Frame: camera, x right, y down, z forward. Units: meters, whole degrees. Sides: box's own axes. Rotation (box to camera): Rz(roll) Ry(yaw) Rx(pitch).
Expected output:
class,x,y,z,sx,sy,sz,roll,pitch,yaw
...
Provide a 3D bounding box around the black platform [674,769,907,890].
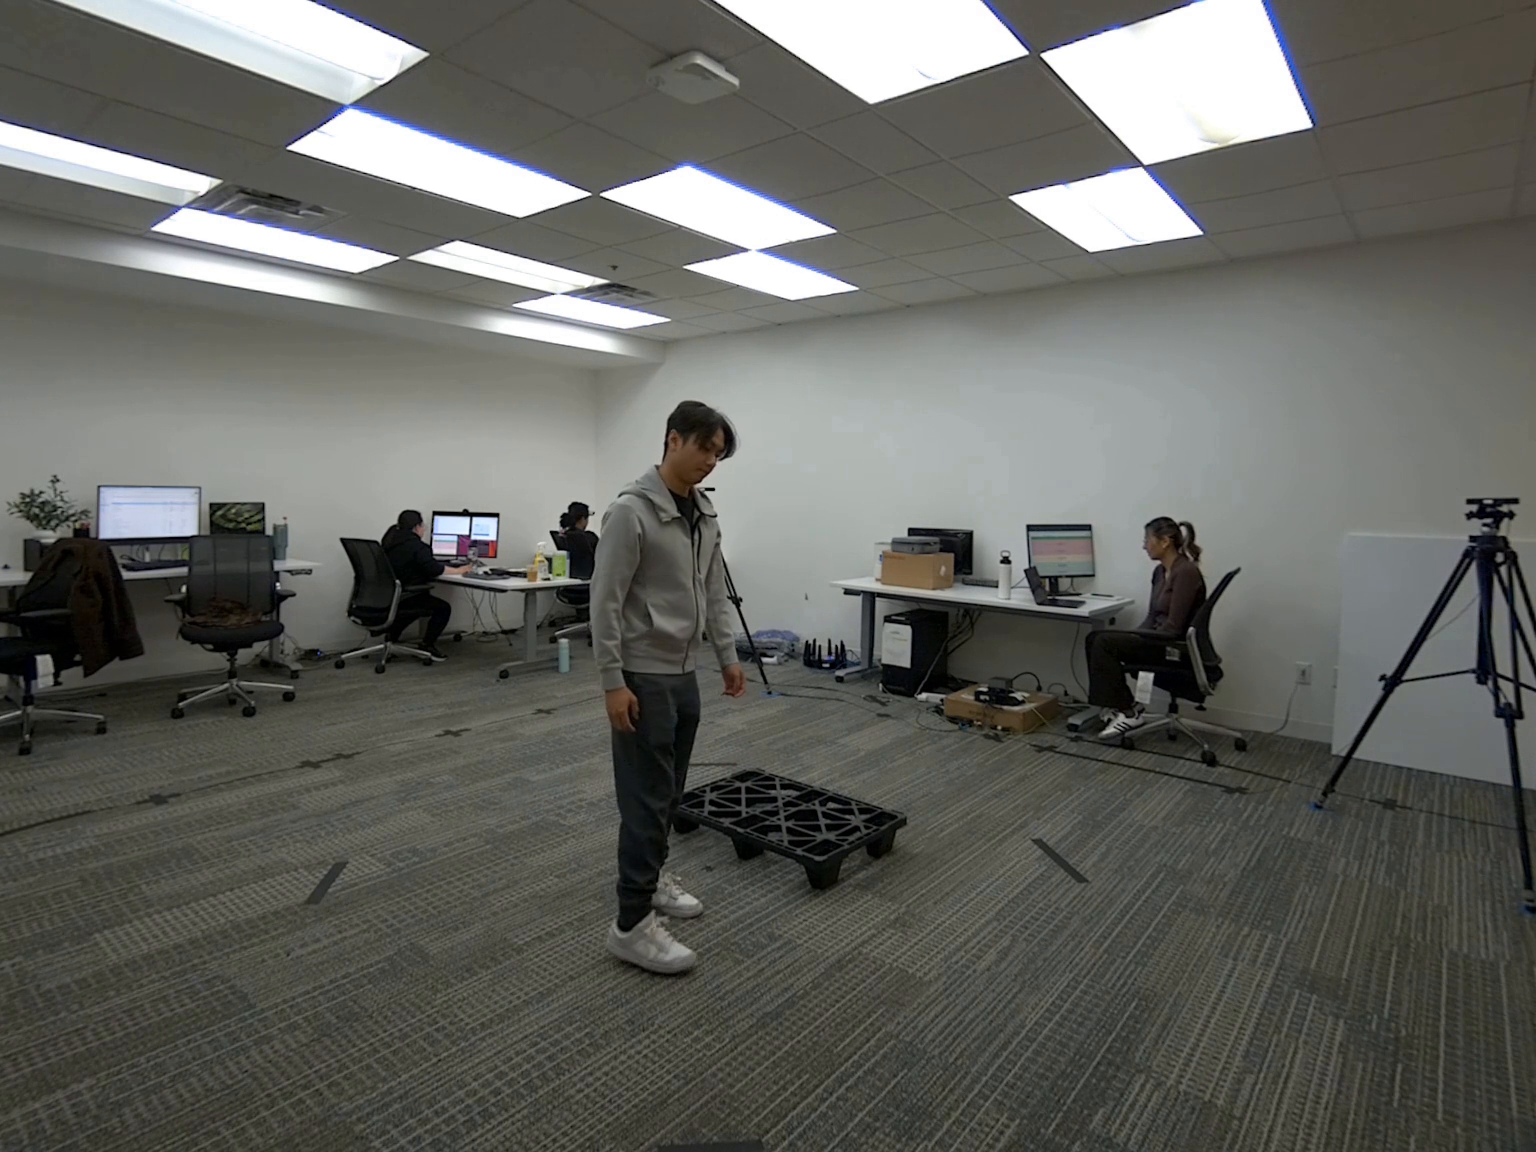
class,x,y,z,sx,sy,sz,roll,pitch,yaw
black platform,0.043,0.981,3.364,0.833,0.143,0.587,6,8,41
